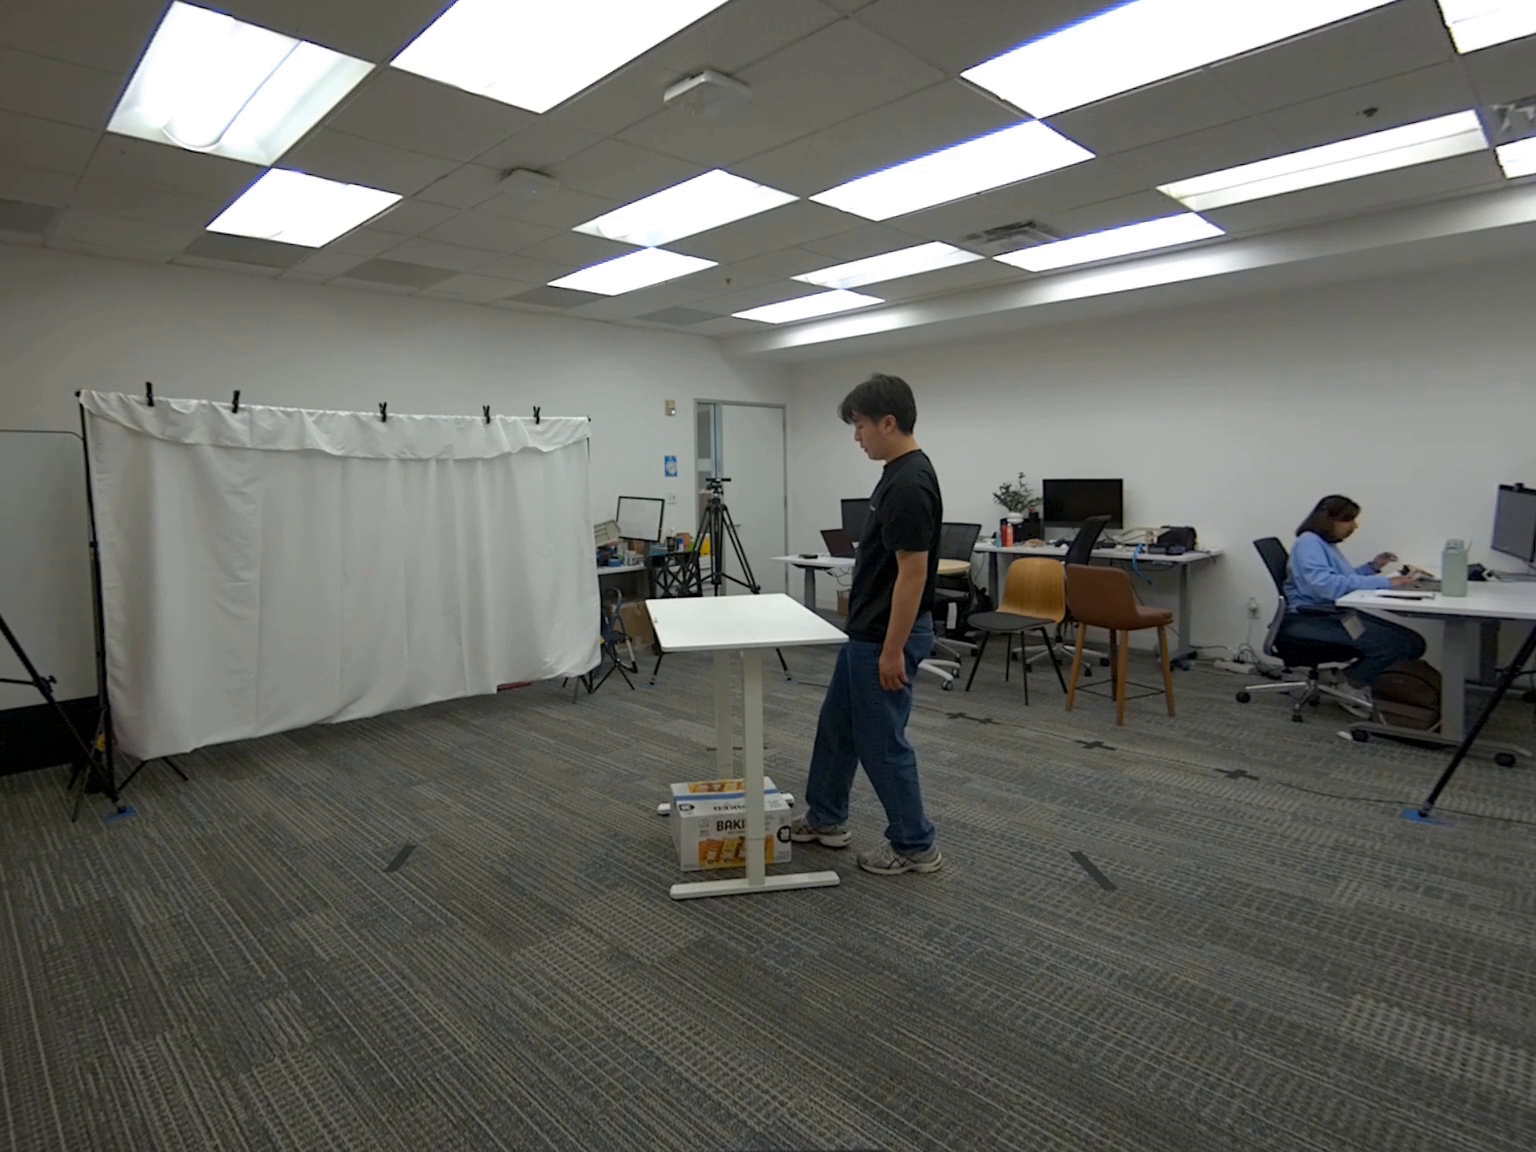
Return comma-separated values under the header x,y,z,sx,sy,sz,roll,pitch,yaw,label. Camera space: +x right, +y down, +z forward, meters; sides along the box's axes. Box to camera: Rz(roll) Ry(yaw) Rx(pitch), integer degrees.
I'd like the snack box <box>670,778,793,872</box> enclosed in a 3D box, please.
x,y,z,sx,sy,sz,roll,pitch,yaw,label
-0.146,0.929,3.224,0.401,0.205,0.345,-2,5,-12,snack box
